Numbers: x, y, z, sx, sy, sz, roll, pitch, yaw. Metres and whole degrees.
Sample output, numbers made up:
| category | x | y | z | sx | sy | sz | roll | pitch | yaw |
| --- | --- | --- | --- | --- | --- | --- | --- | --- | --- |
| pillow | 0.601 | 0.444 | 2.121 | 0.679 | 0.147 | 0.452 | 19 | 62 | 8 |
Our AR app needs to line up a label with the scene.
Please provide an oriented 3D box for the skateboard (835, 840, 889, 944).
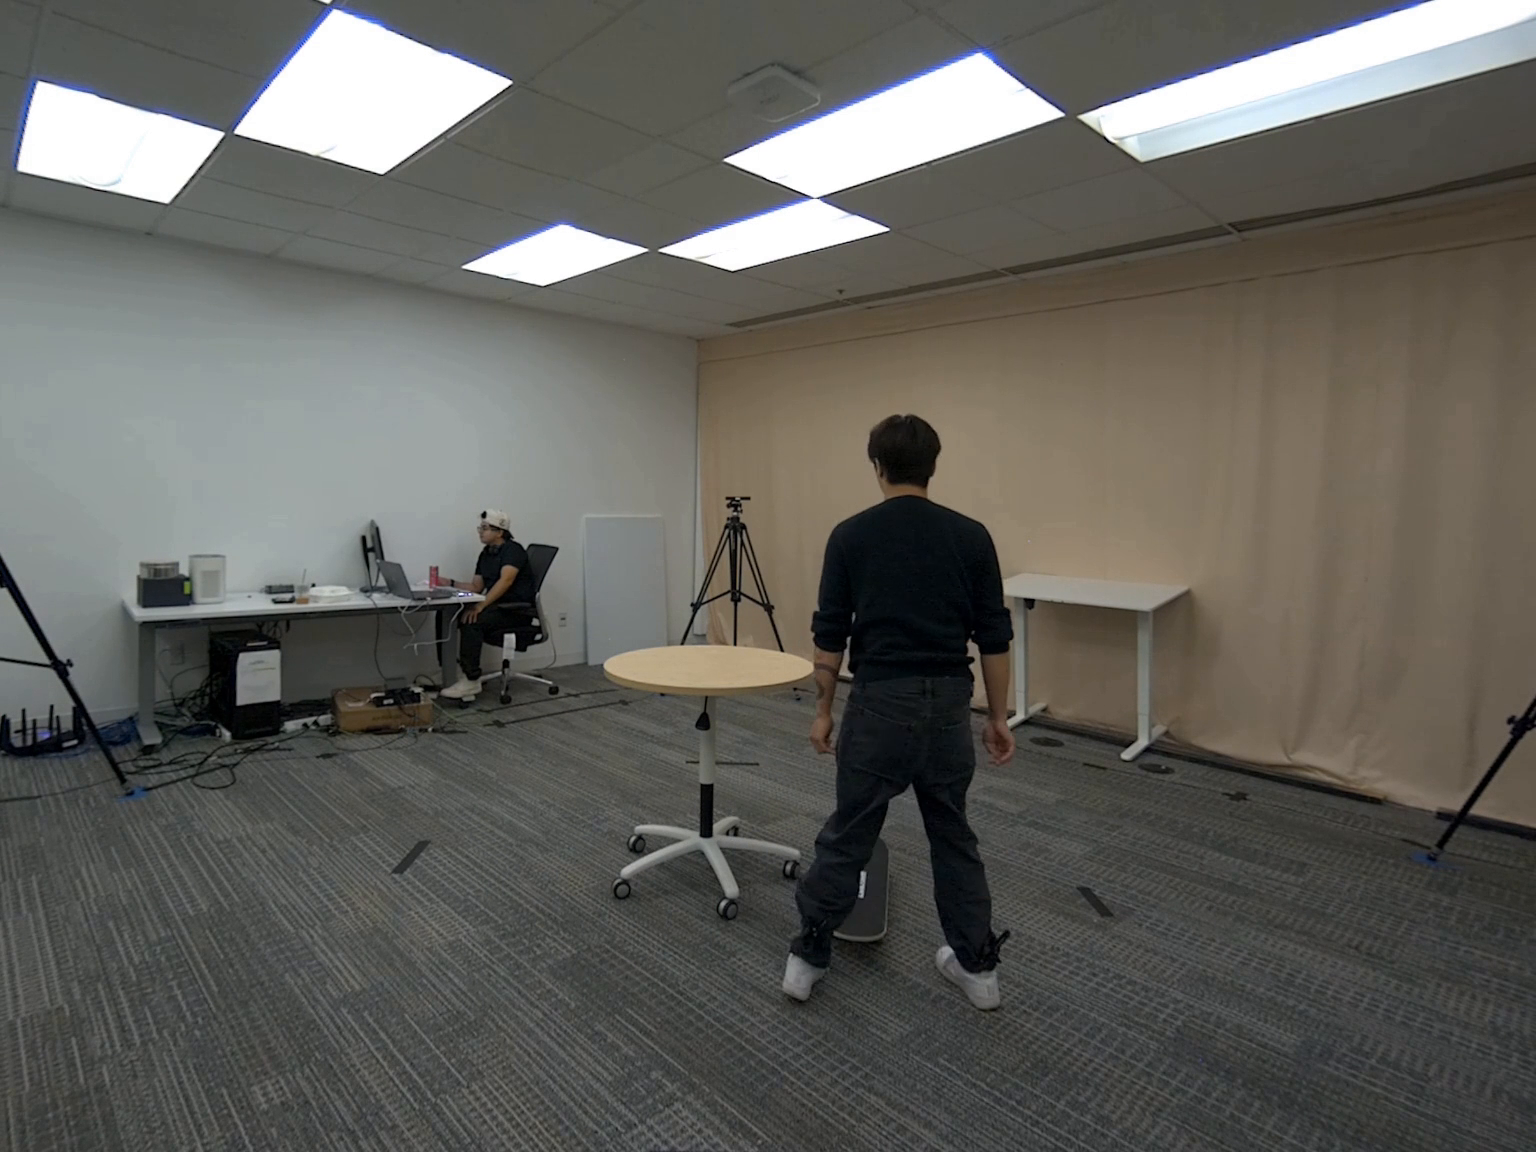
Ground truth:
| category | x | y | z | sx | sy | sz | roll | pitch | yaw |
| --- | --- | --- | --- | --- | --- | --- | --- | --- | --- |
| skateboard | 0.304 | 1.080 | 2.871 | 0.195 | 0.110 | 0.781 | 2 | 6 | 9 |
